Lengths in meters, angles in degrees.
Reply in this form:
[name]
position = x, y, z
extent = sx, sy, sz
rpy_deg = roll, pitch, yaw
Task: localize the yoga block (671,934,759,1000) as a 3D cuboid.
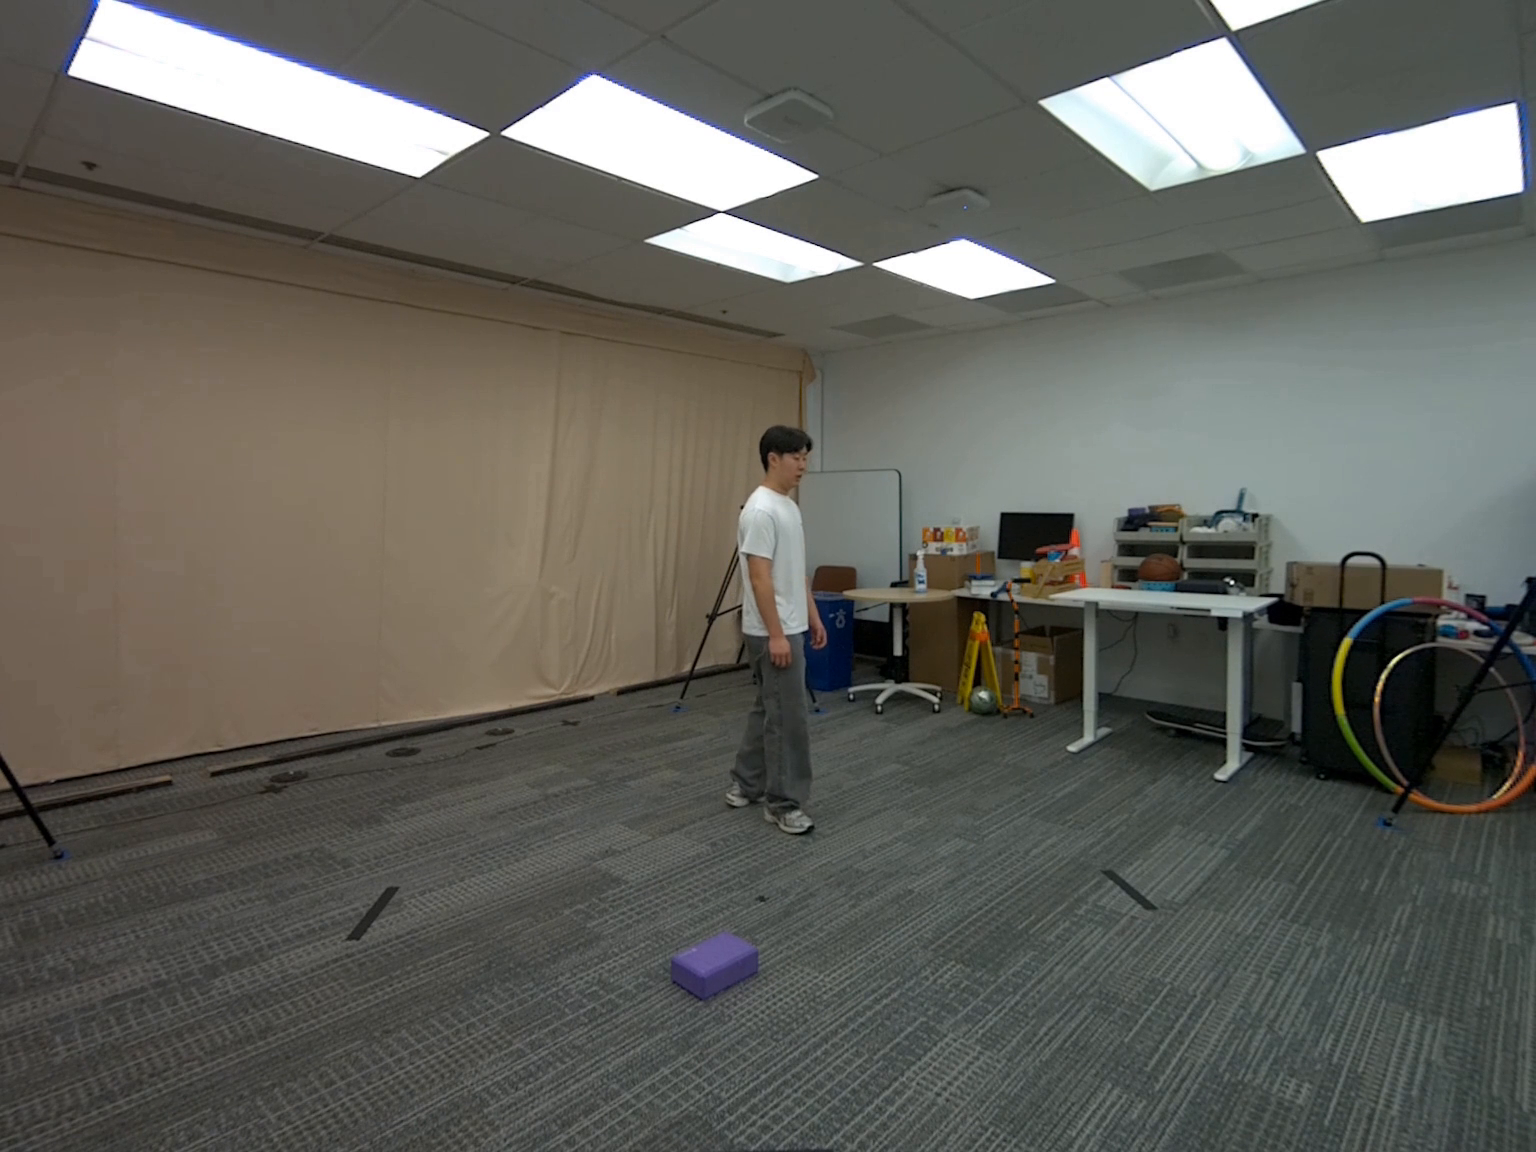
[yoga block]
position = -0.148, 1.149, 2.486
extent = 0.222, 0.076, 0.154
rpy_deg = -5, 6, -44
